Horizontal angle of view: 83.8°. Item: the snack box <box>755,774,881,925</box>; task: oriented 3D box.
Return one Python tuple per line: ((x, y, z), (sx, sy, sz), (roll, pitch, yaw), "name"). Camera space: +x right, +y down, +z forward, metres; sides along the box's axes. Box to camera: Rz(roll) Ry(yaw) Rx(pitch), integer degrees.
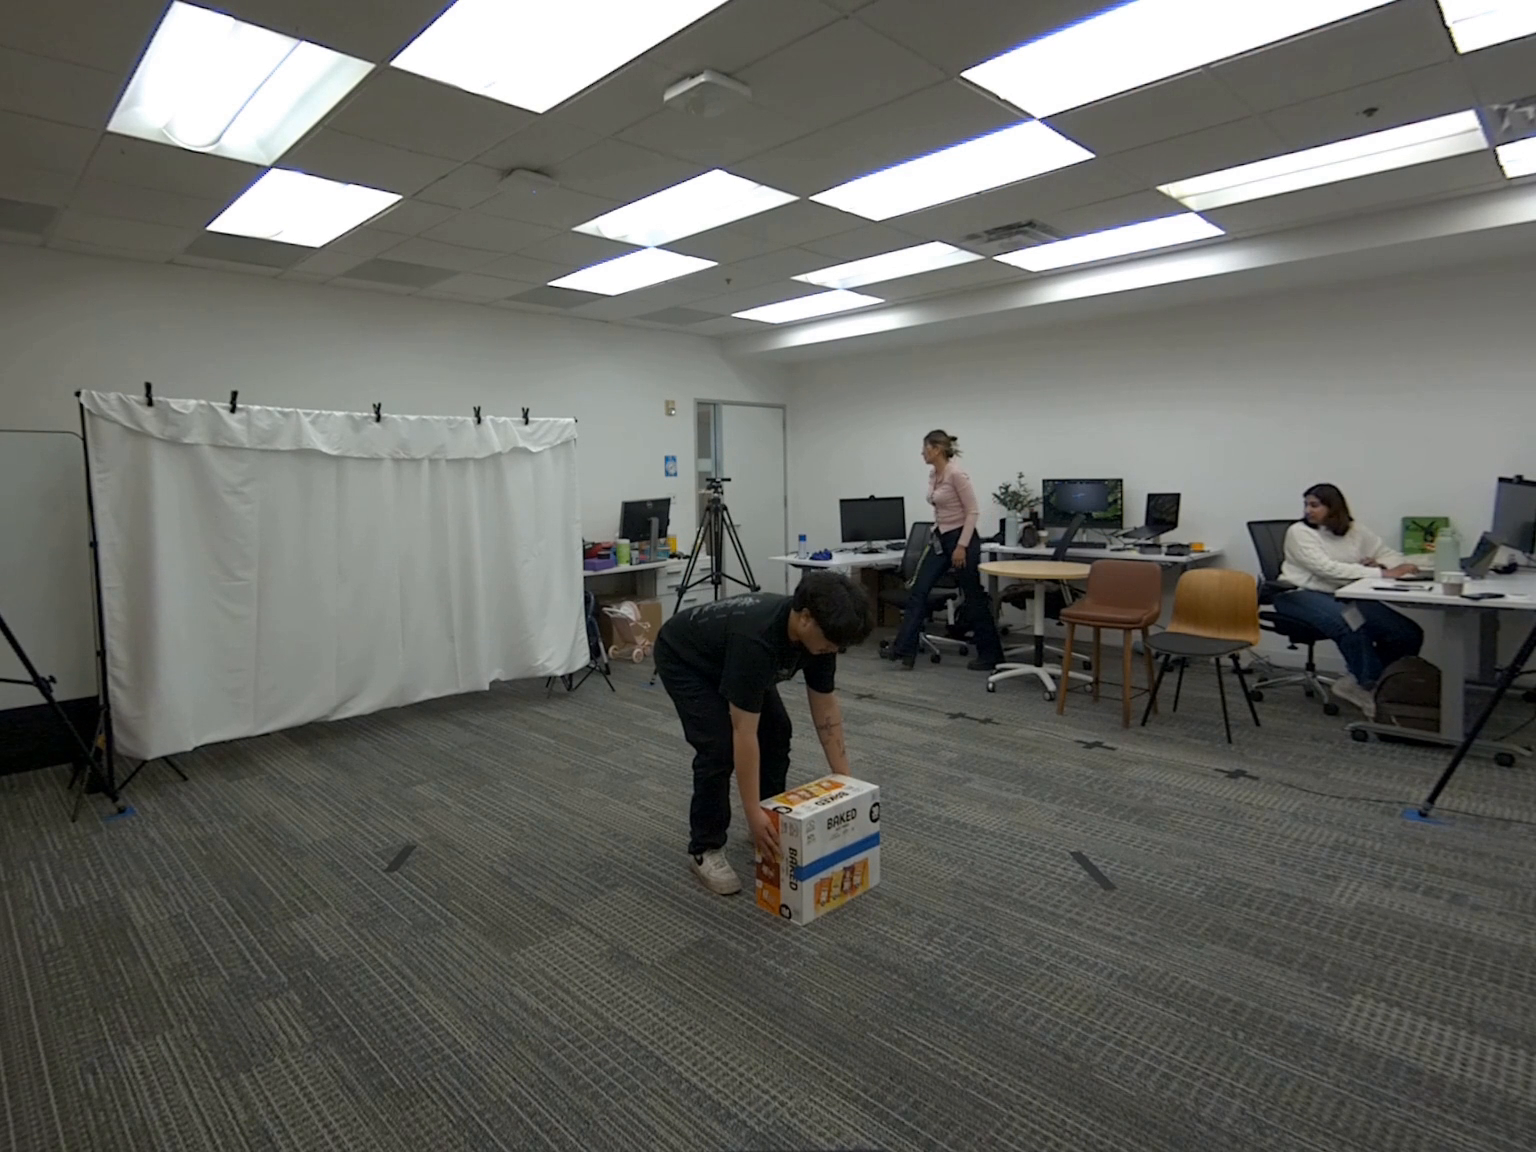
((0.173, 0.896, 2.856), (0.212, 0.339, 0.394), (3, 7, 45), "snack box")
